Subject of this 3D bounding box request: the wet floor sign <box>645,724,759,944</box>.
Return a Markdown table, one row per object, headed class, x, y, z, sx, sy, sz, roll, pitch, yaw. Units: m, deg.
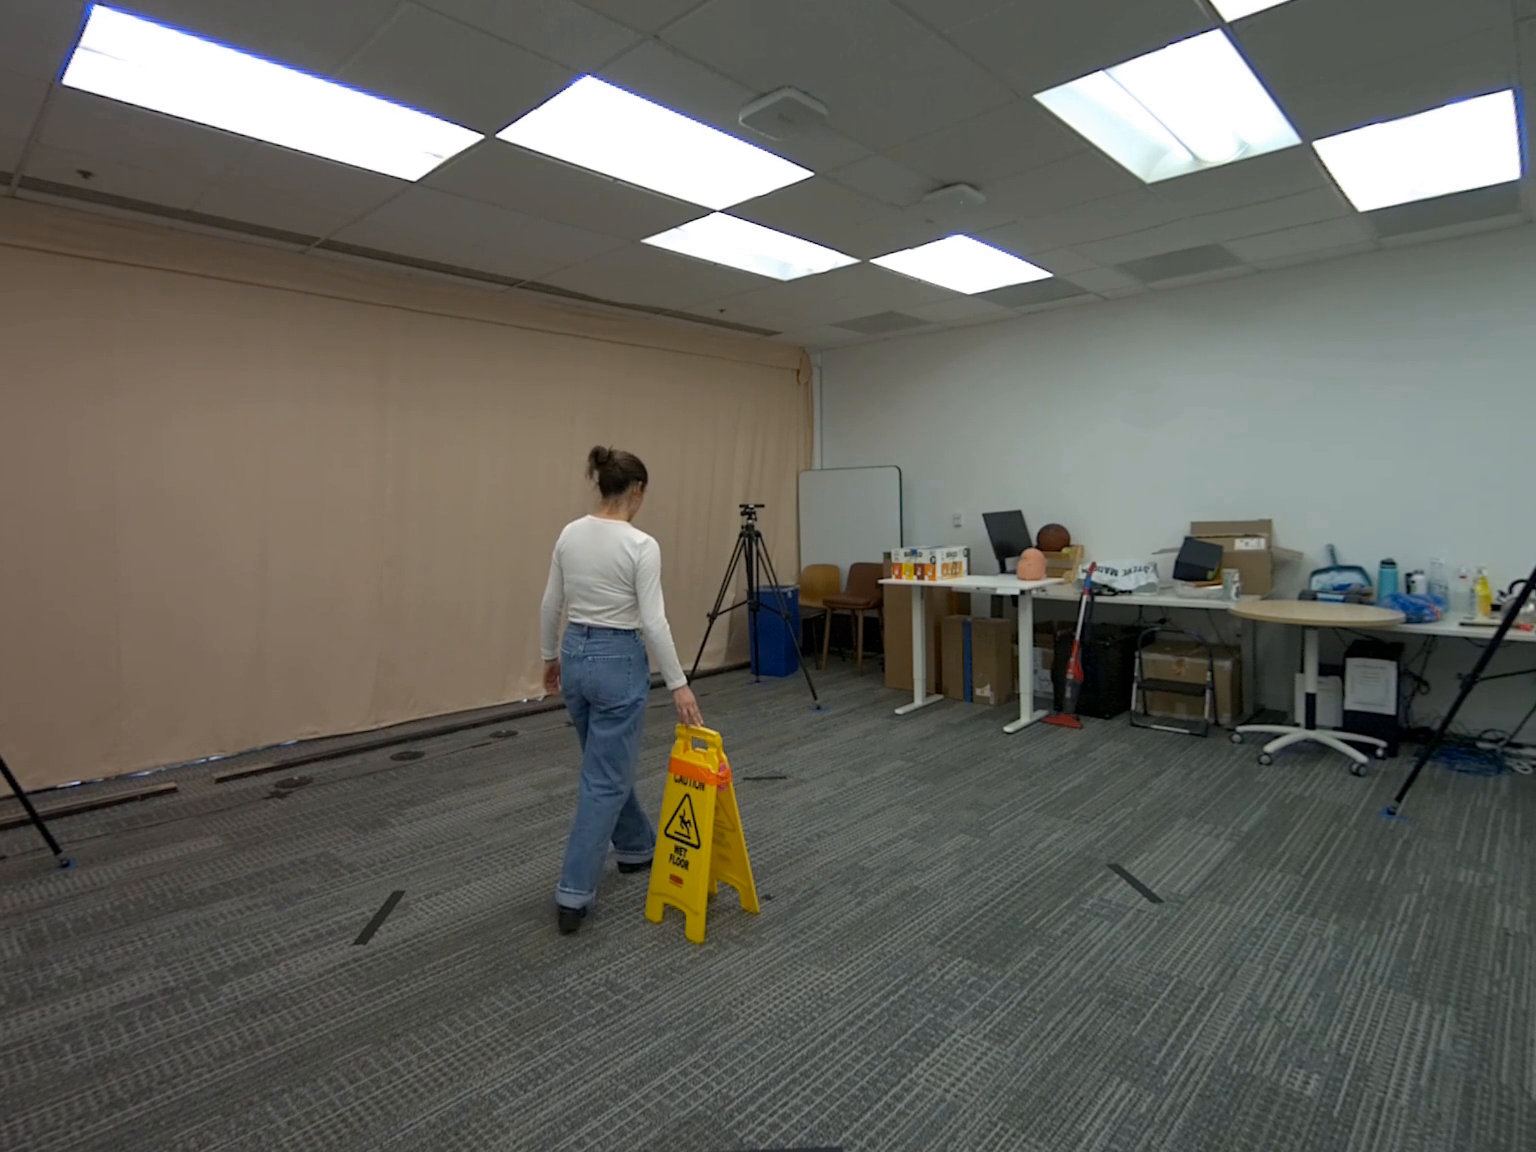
| class | x | y | z | sx | sy | sz | roll | pitch | yaw |
| --- | --- | --- | --- | --- | --- | --- | --- | --- | --- |
| wet floor sign | -0.226 | 0.832 | 2.842 | 0.291 | 0.645 | 0.281 | 2 | 4 | 43 |
